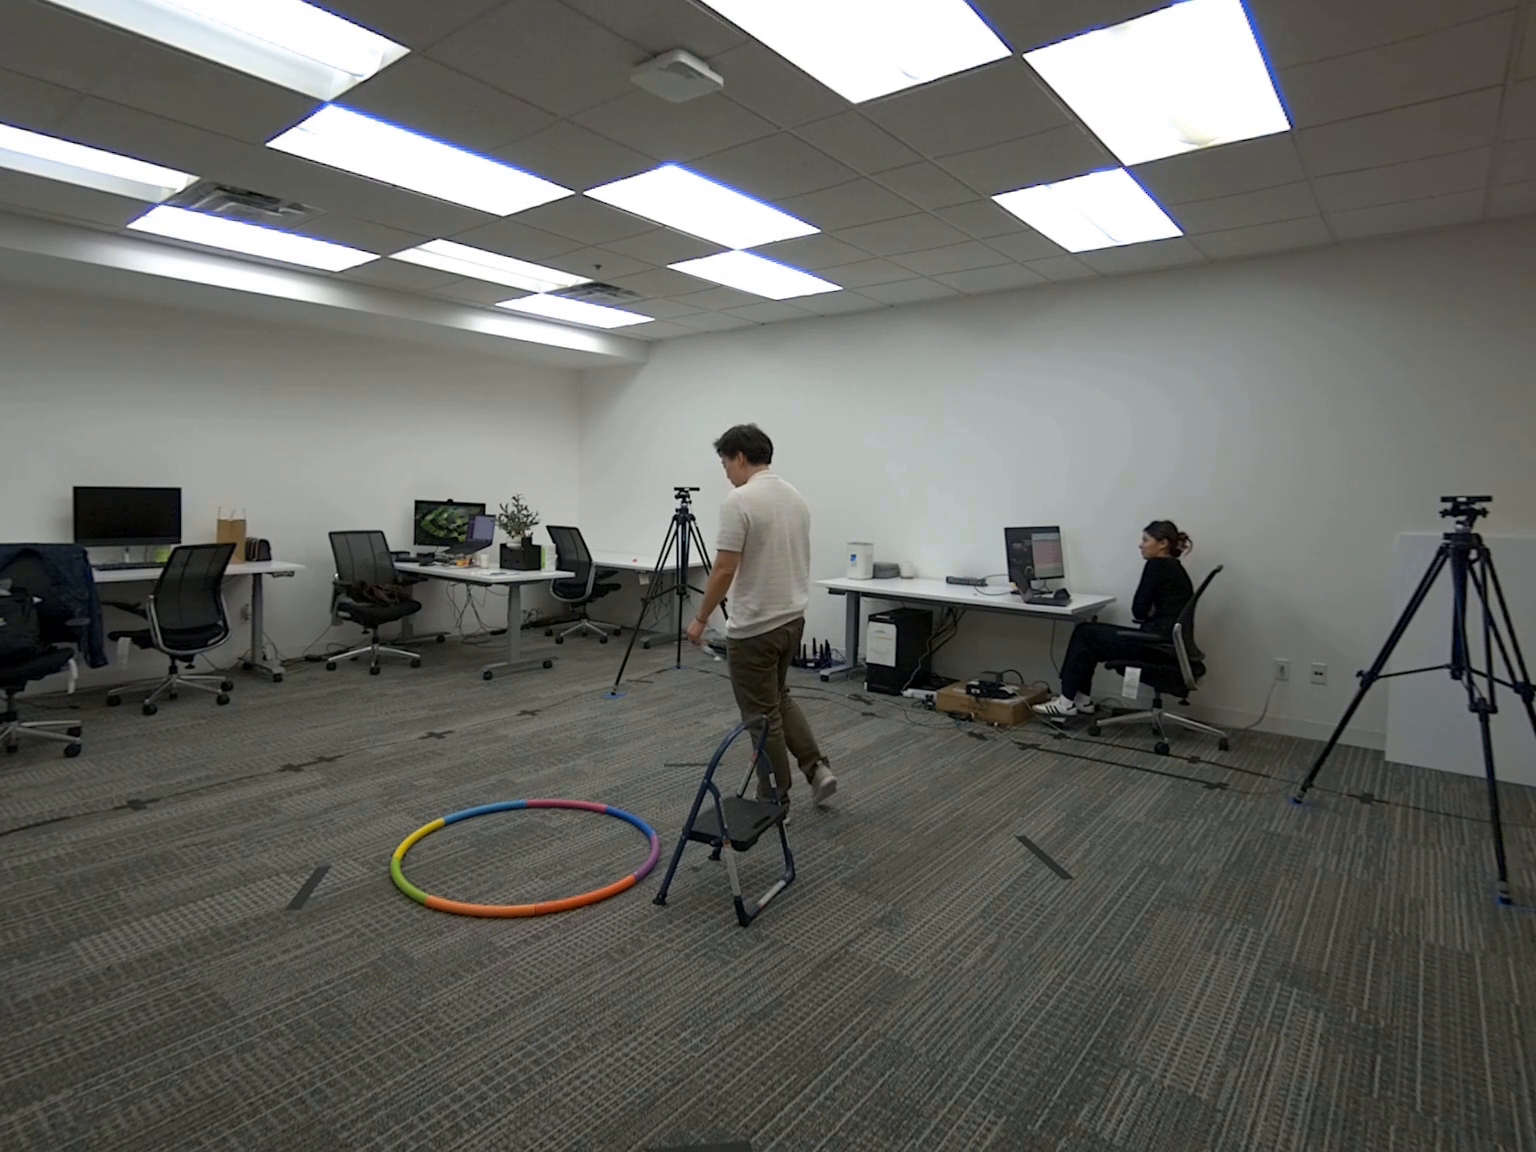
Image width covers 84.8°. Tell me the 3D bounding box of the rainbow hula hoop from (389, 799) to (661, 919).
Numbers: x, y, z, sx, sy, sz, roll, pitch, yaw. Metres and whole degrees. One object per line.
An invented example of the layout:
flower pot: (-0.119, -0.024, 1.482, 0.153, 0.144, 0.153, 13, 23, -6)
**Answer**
rainbow hula hoop: (-0.912, 1.017, 3.209, 0.978, 0.035, 0.984, 1, 6, -2)
